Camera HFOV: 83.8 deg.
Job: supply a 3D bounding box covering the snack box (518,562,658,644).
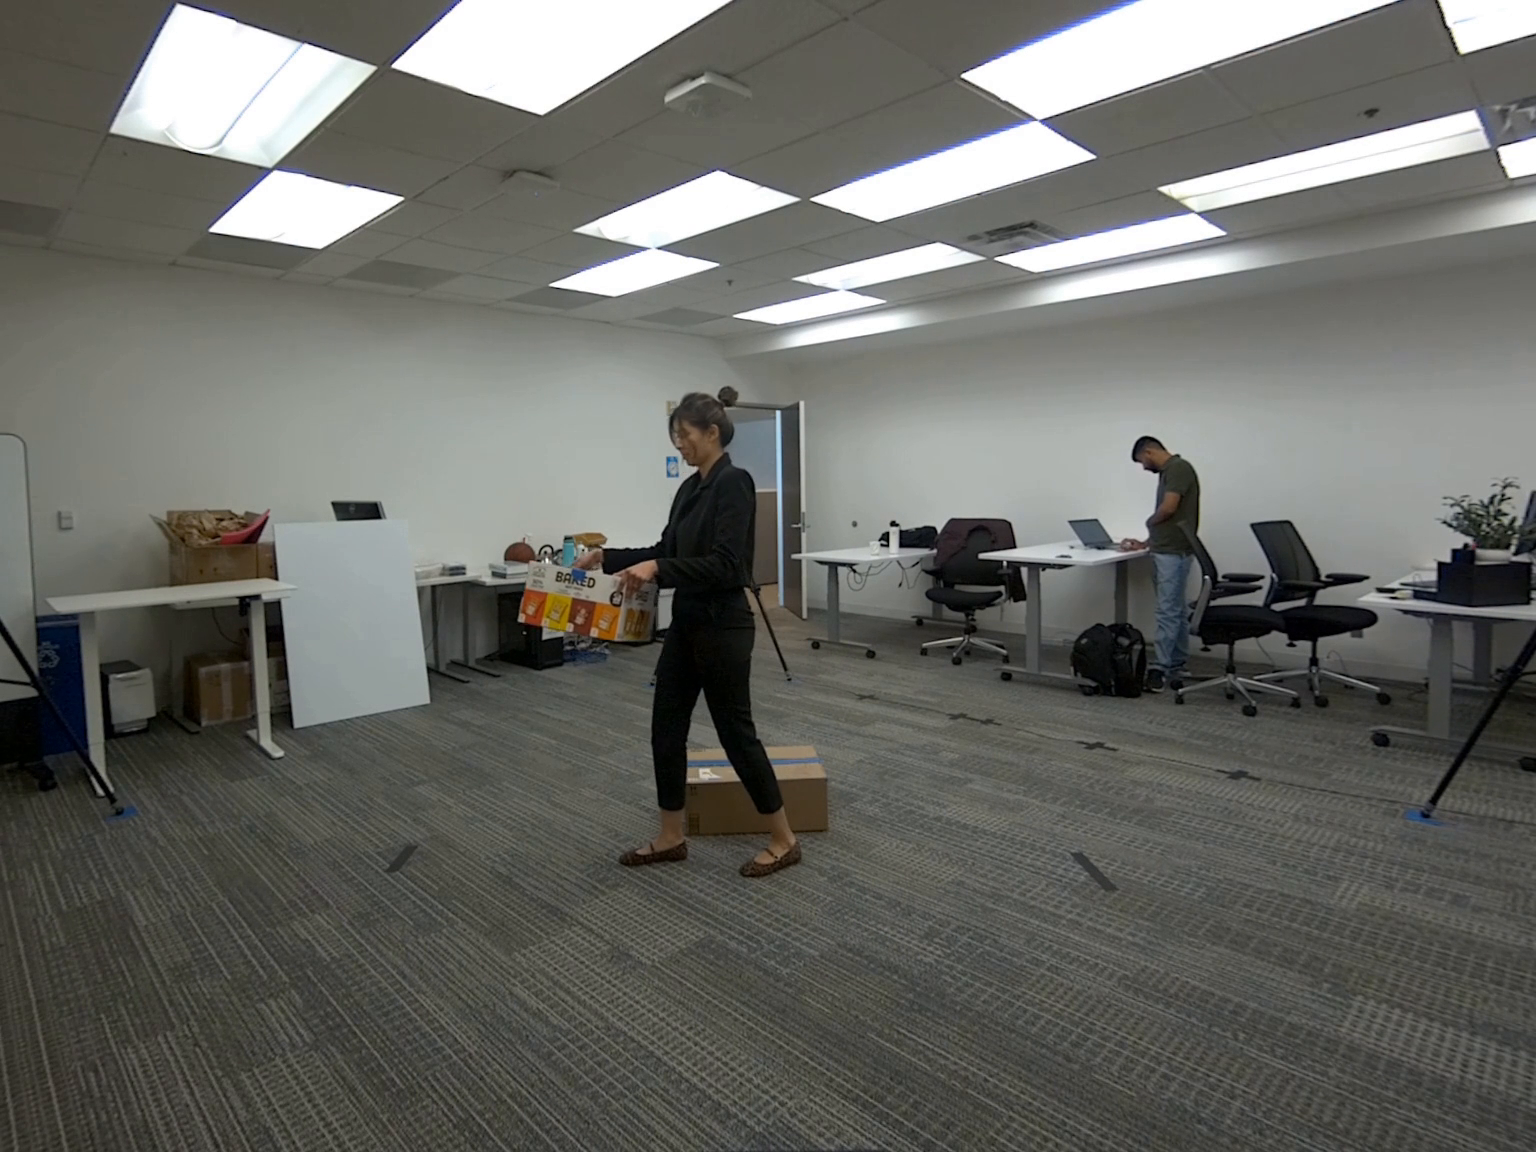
[{"bbox_3d":[-0.595,0.086,2.918,0.344,0.206,0.399,9,-4,10],"label":"snack box"}]
